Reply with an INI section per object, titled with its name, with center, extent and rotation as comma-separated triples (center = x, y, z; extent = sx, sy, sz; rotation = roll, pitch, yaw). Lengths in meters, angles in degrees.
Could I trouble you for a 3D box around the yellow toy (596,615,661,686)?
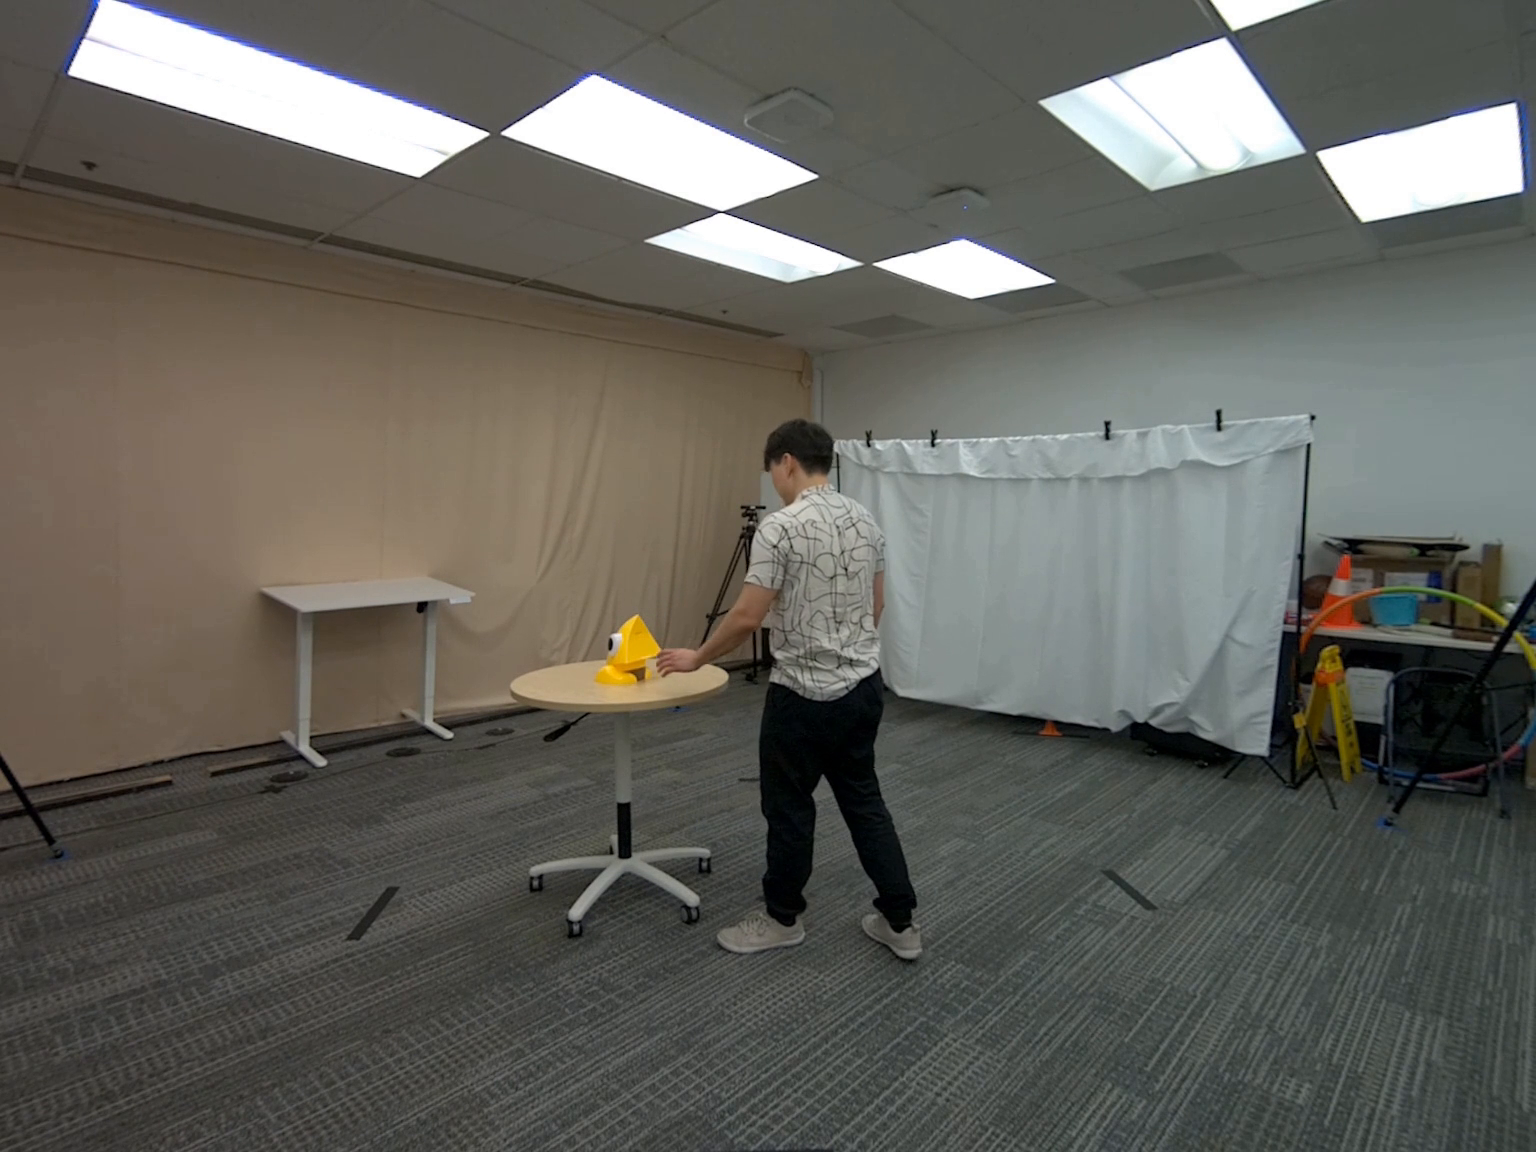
[yellow toy]
center = -0.506, 0.252, 2.973
extent = 0.199, 0.230, 0.199
rotation = 1, 5, 32
